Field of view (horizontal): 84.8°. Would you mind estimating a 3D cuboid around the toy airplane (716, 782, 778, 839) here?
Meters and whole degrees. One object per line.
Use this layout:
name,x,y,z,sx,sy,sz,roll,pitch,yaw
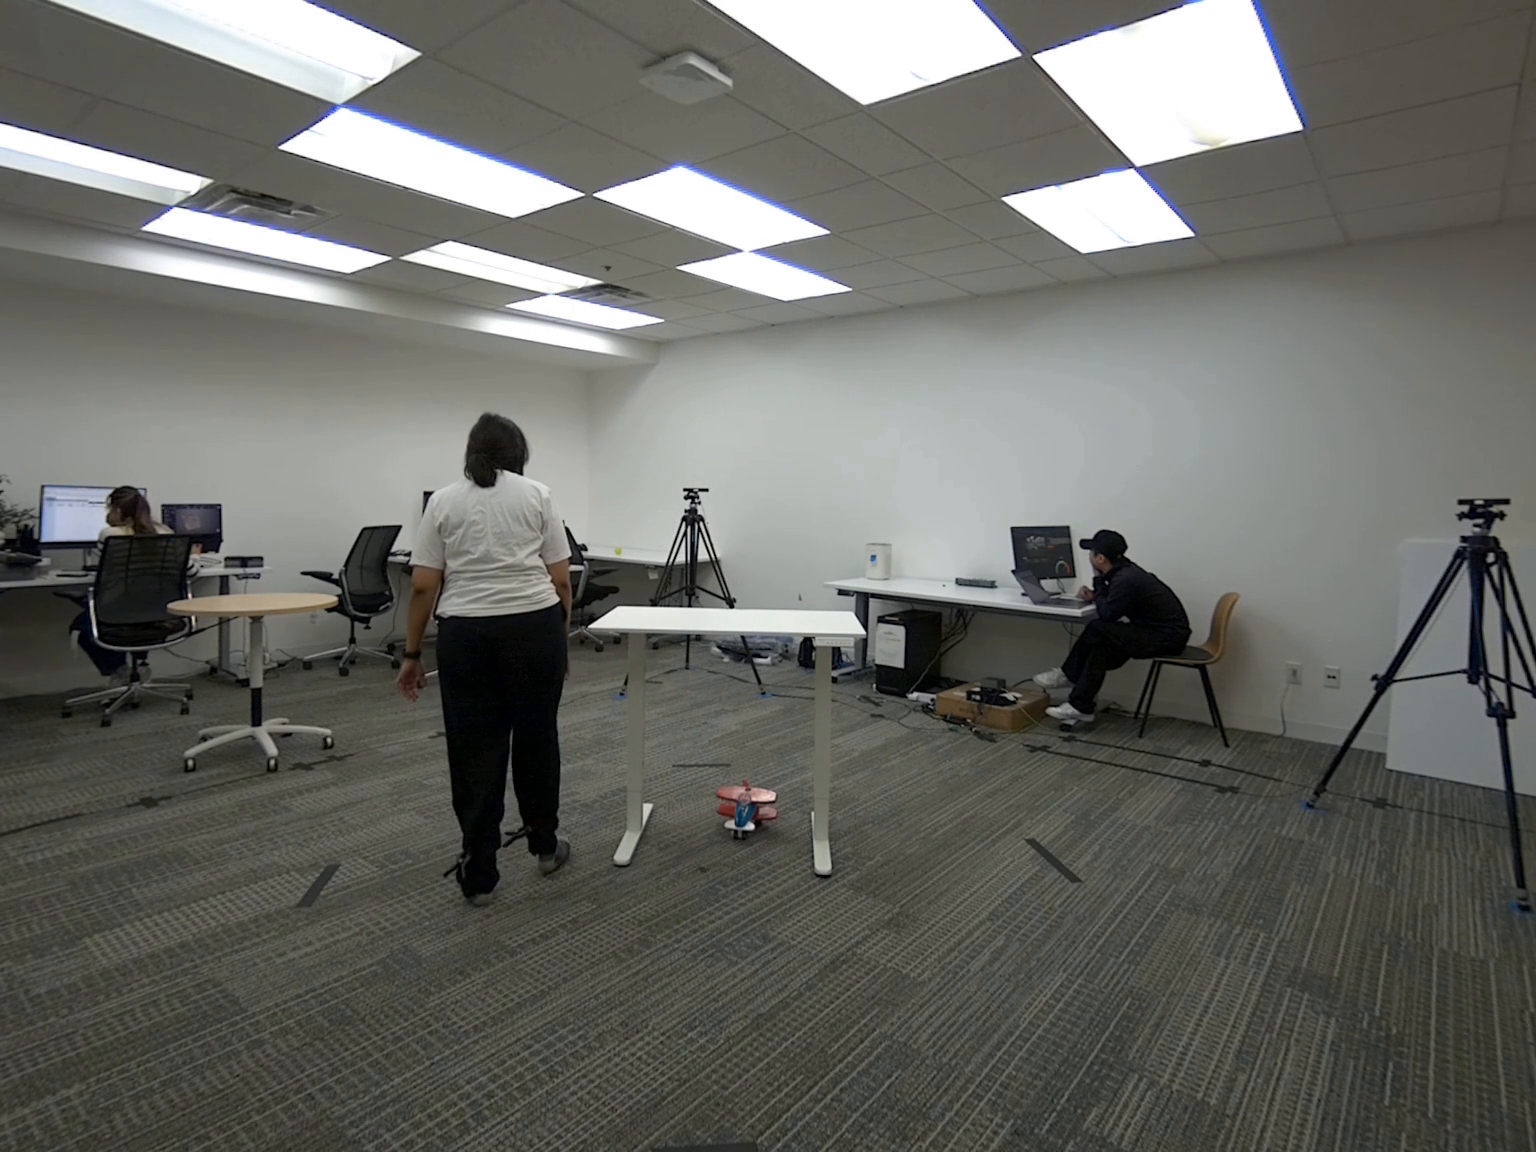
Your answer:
toy airplane,-0.085,0.962,3.476,0.247,0.156,0.264,-1,4,-17
